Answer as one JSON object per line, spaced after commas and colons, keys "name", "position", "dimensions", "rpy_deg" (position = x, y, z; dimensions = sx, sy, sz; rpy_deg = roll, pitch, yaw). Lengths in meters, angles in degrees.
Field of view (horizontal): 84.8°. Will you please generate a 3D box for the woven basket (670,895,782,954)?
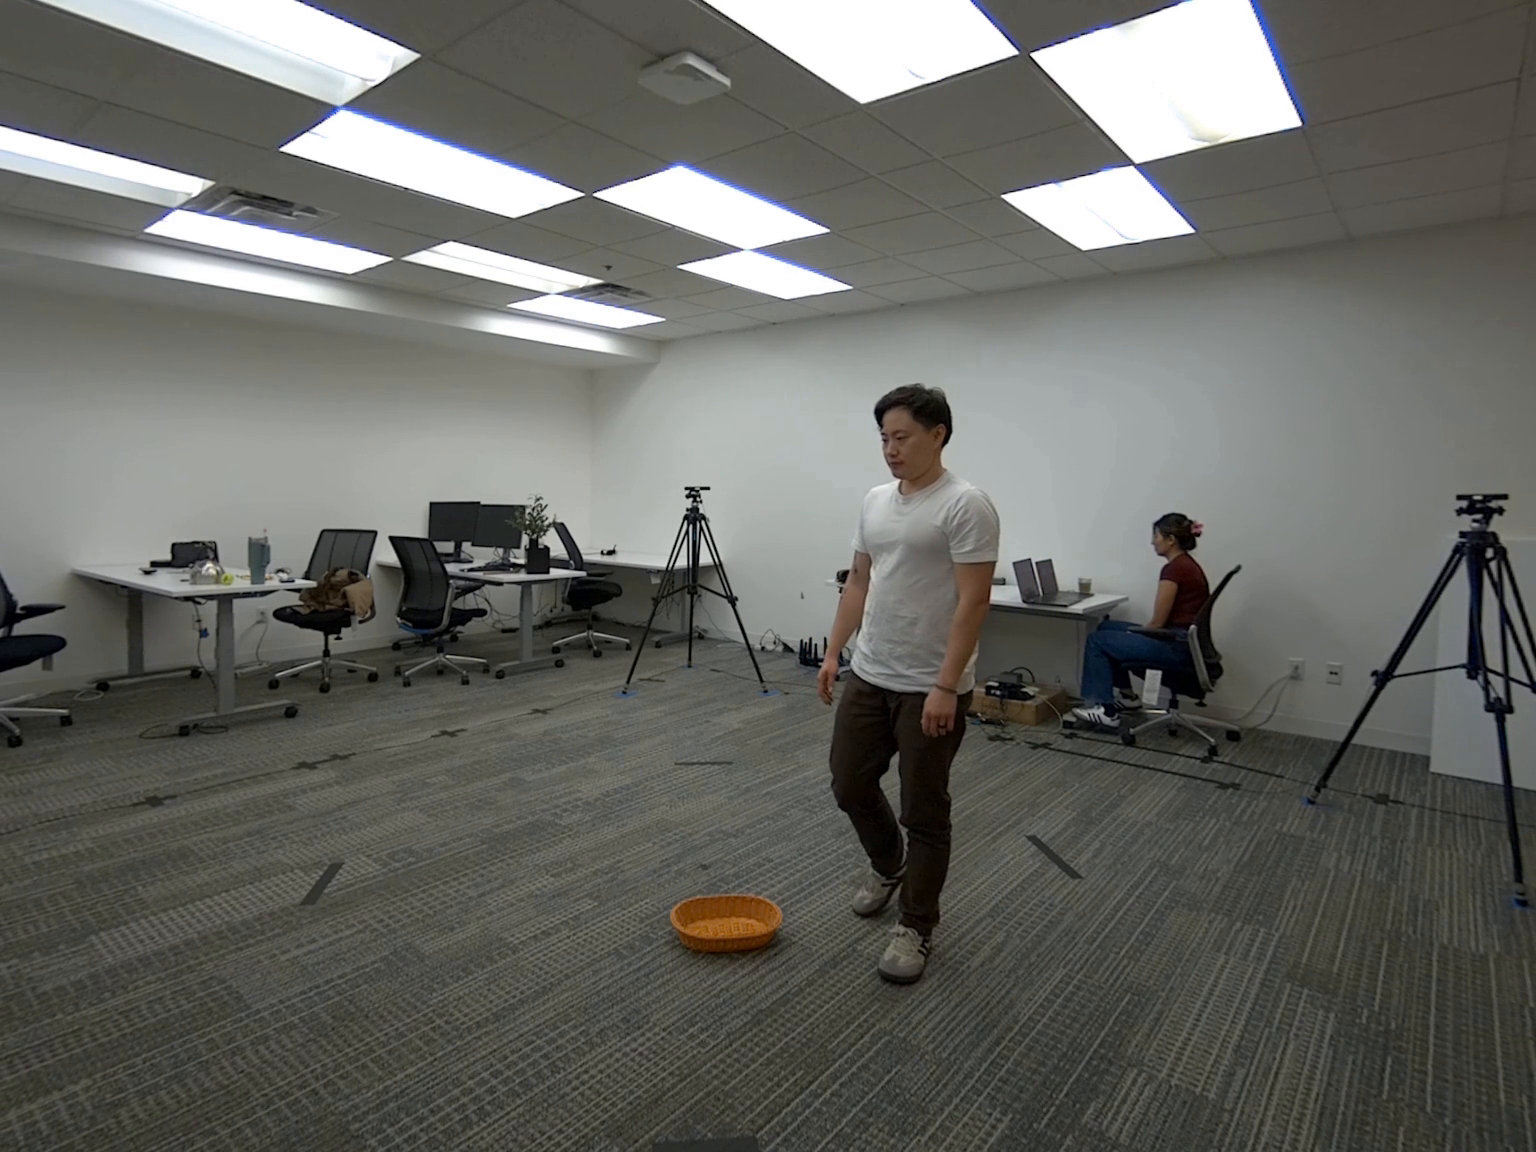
{"name": "woven basket", "position": [-0.134, 1.073, 2.627], "dimensions": [0.347, 0.073, 0.256], "rpy_deg": [0, 6, -10]}
